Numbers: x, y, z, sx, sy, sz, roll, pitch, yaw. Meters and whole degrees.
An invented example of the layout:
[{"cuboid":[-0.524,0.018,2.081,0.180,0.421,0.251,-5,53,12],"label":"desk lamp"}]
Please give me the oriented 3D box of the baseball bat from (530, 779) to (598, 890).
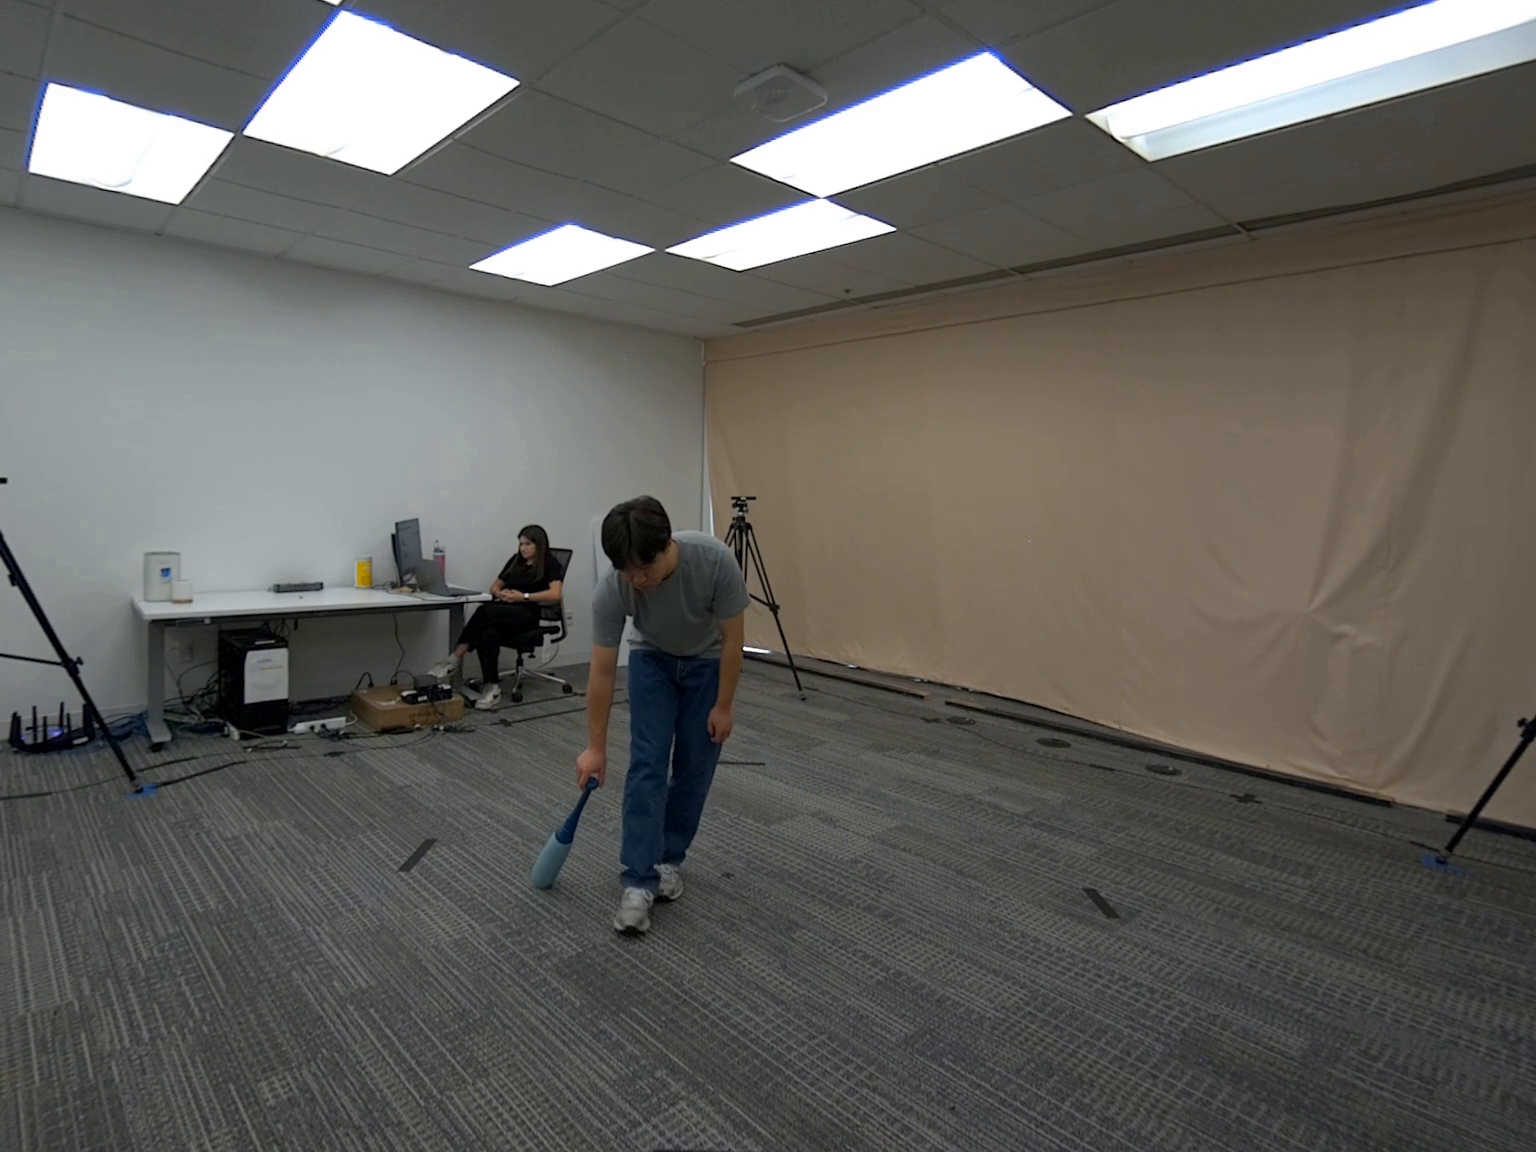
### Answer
[{"cuboid":[-0.688,0.874,2.870,0.088,0.539,0.091,21,29,-14],"label":"baseball bat"}]
